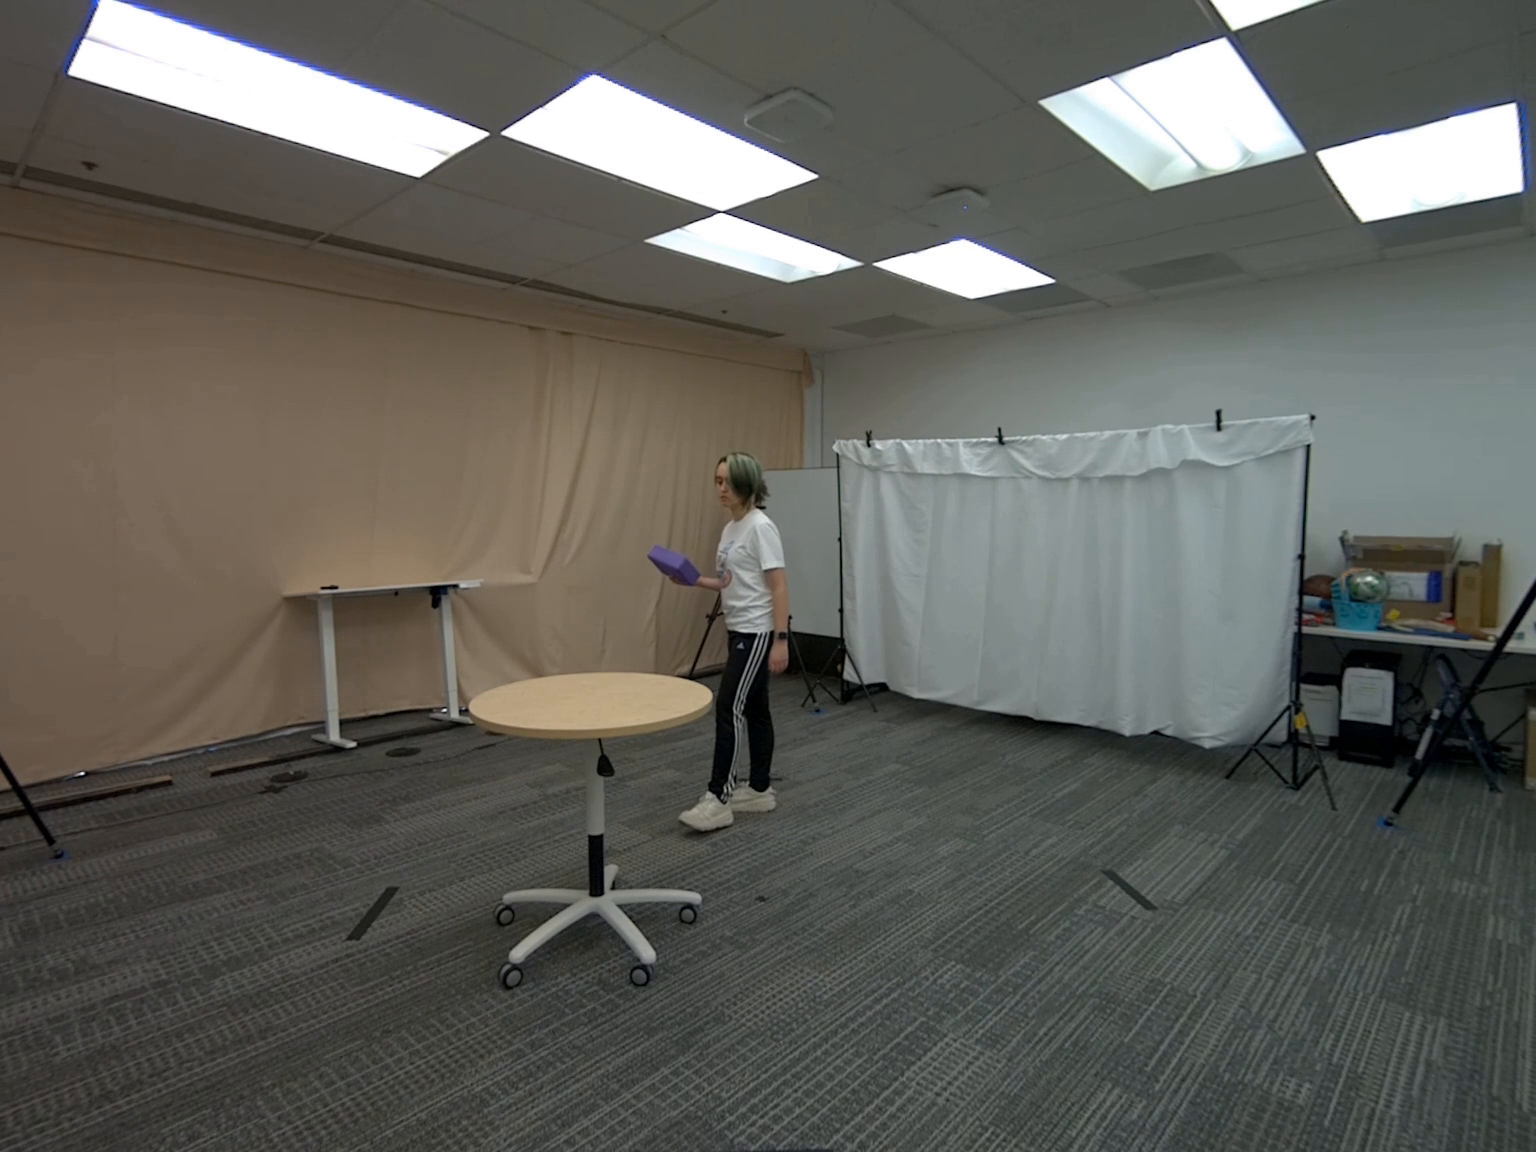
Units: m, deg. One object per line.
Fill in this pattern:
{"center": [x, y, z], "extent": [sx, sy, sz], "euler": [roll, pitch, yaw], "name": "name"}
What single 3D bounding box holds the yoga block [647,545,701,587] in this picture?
{"center": [-0.431, -0.053, 3.871], "extent": [0.238, 0.076, 0.144], "euler": [21, -22, 43], "name": "yoga block"}
